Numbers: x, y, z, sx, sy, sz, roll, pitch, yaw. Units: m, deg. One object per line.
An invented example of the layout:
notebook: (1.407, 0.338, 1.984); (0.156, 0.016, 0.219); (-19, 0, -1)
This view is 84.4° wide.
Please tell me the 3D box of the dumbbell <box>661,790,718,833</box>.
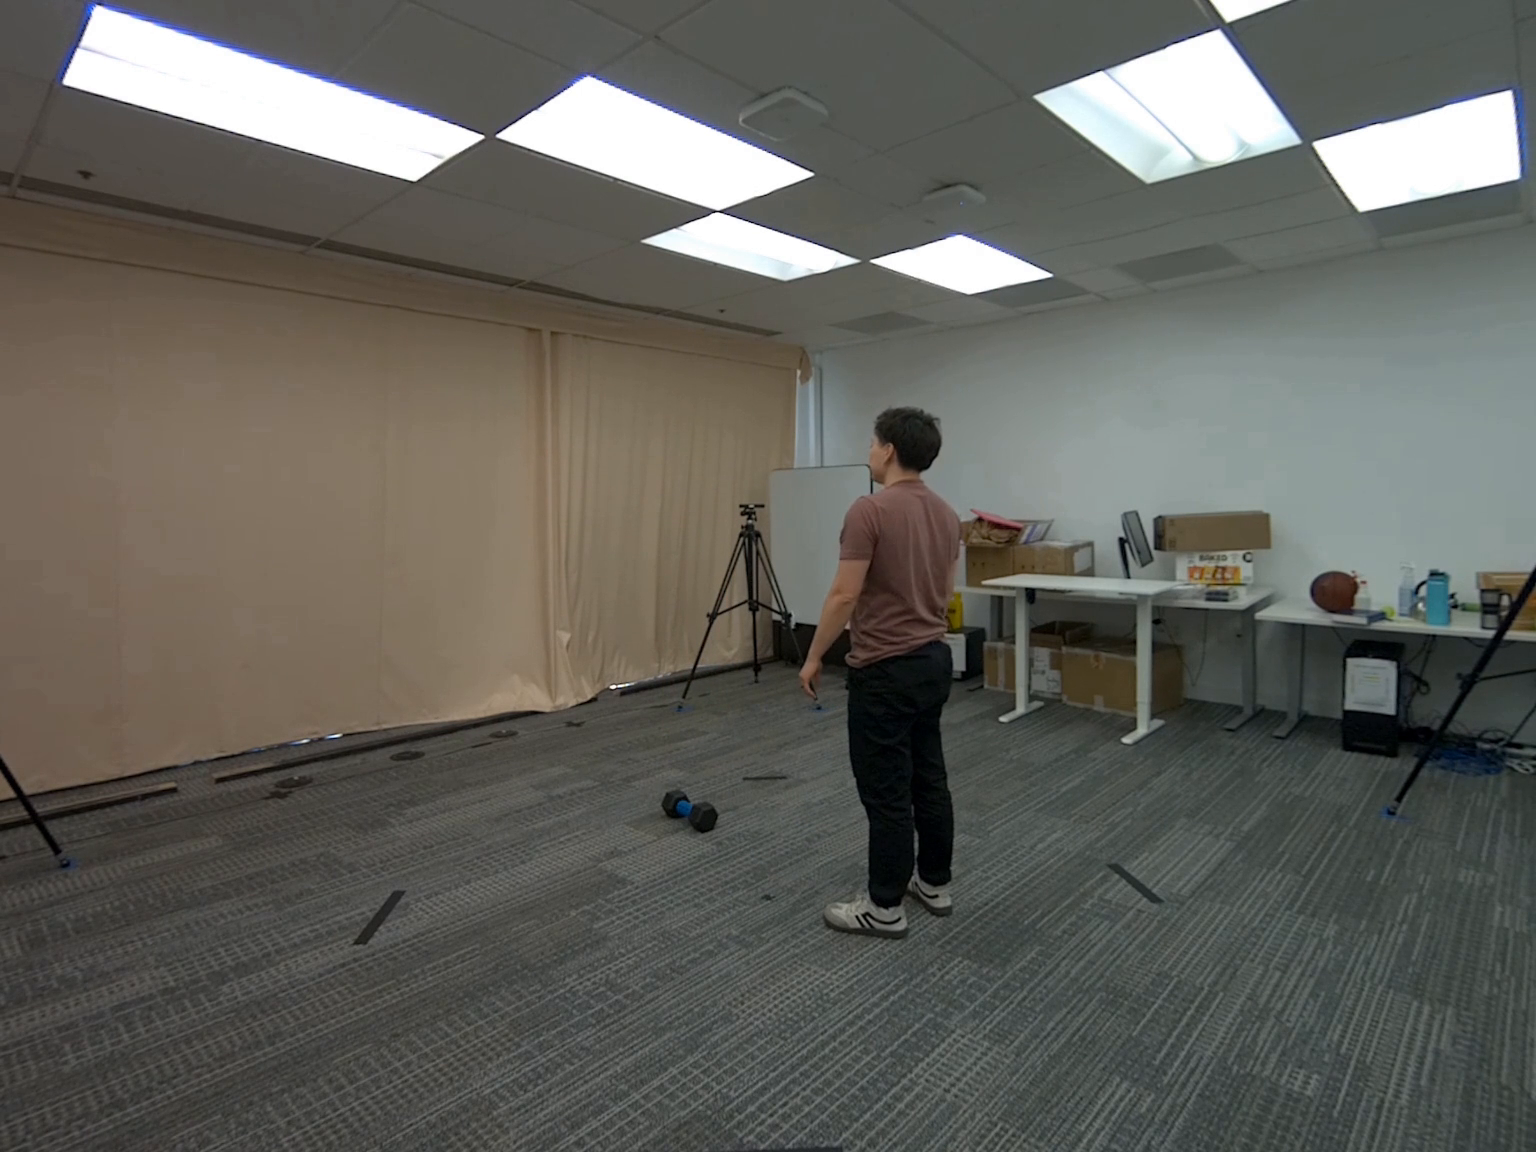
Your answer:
dumbbell: (-0.345, 1.030, 3.705); (0.105, 0.123, 0.303); (34, -18, -35)
